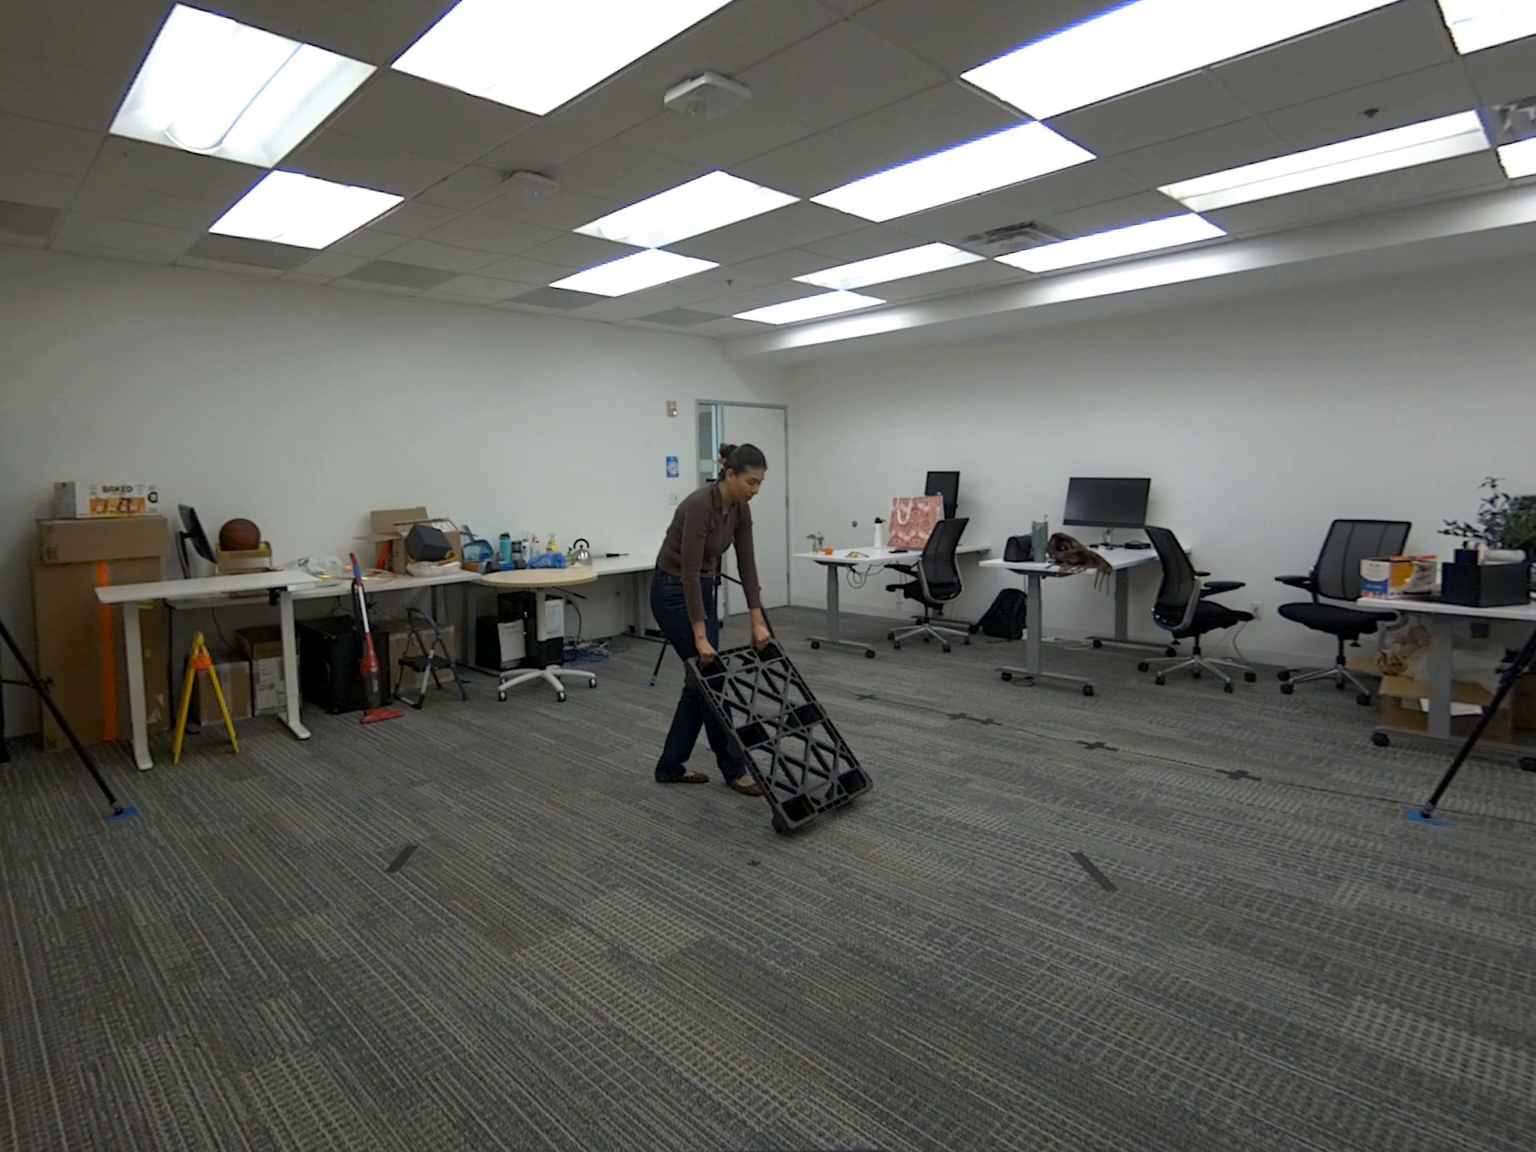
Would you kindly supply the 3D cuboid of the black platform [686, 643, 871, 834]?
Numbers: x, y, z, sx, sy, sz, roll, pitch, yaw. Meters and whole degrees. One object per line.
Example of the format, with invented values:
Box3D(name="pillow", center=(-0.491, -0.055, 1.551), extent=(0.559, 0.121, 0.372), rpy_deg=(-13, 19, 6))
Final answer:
Box3D(name="black platform", center=(0.027, 0.662, 3.667), extent=(0.589, 0.829, 0.143), rpy_deg=(-5, -36, -49))
